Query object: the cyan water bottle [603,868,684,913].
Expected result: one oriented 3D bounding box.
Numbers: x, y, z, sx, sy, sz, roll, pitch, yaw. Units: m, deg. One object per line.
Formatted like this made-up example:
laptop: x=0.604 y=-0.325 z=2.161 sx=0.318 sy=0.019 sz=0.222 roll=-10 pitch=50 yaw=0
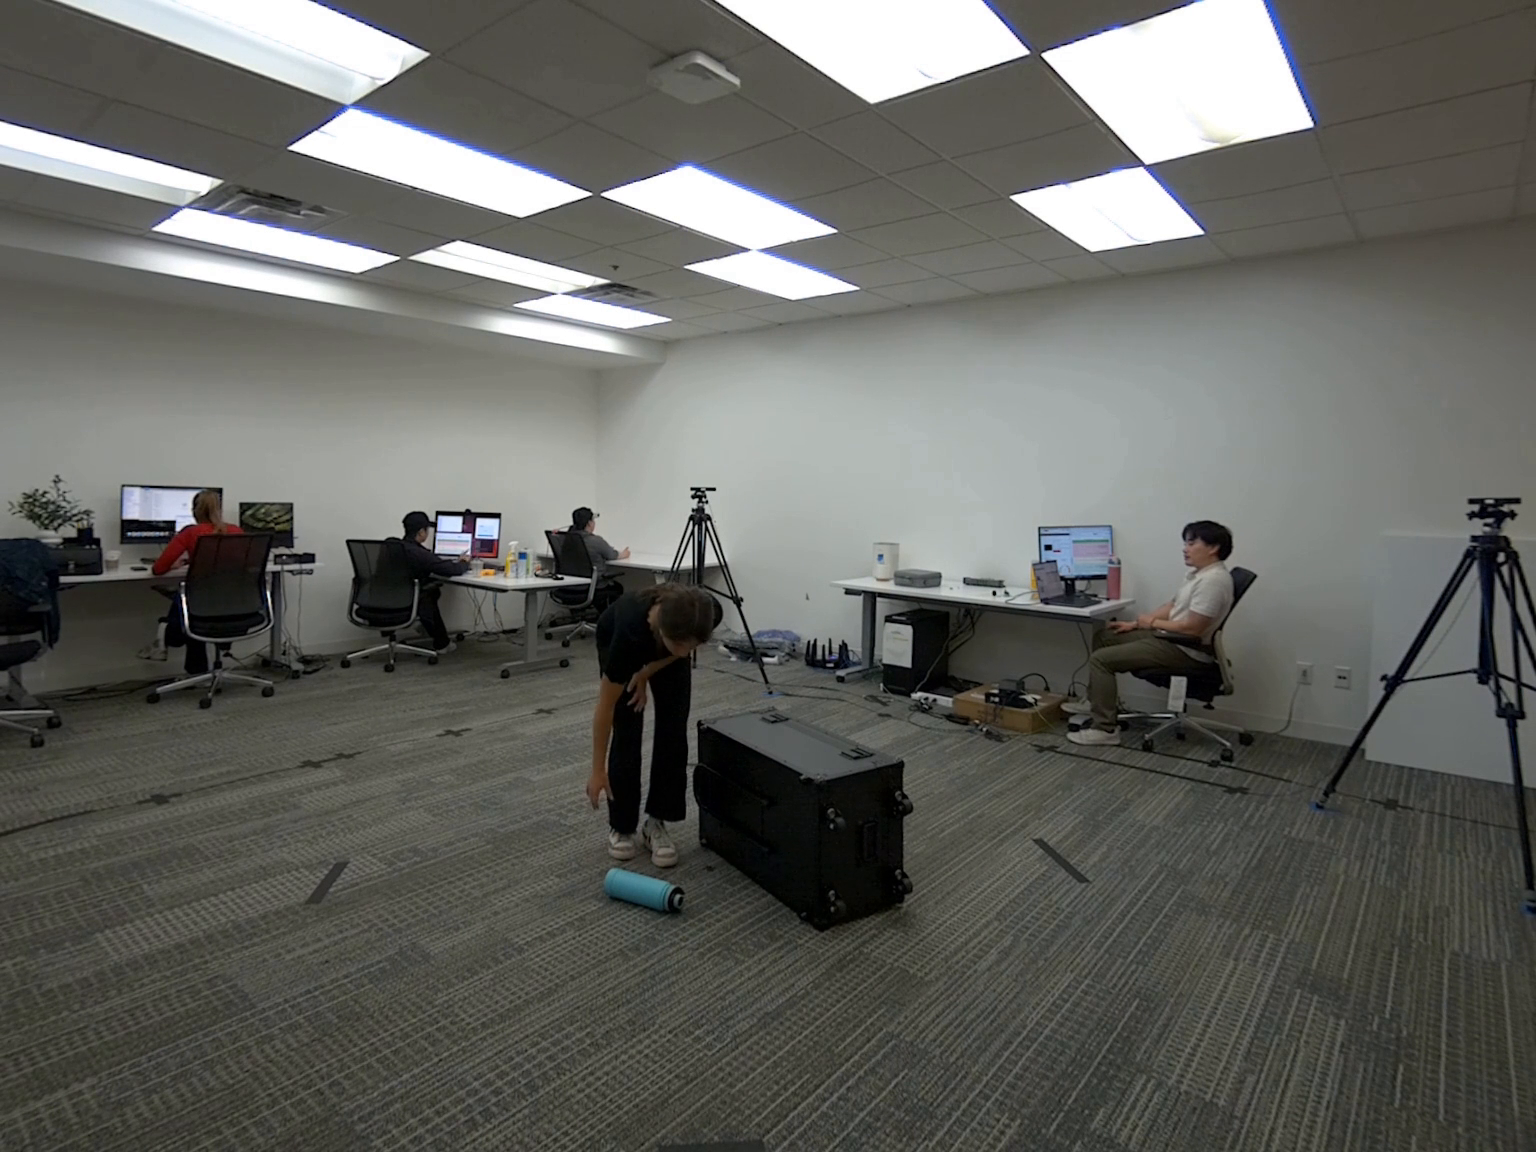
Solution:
cyan water bottle: x=-0.420 y=1.041 z=2.832 sx=0.291 sy=0.092 sz=0.090 roll=4 pitch=5 yaw=25
